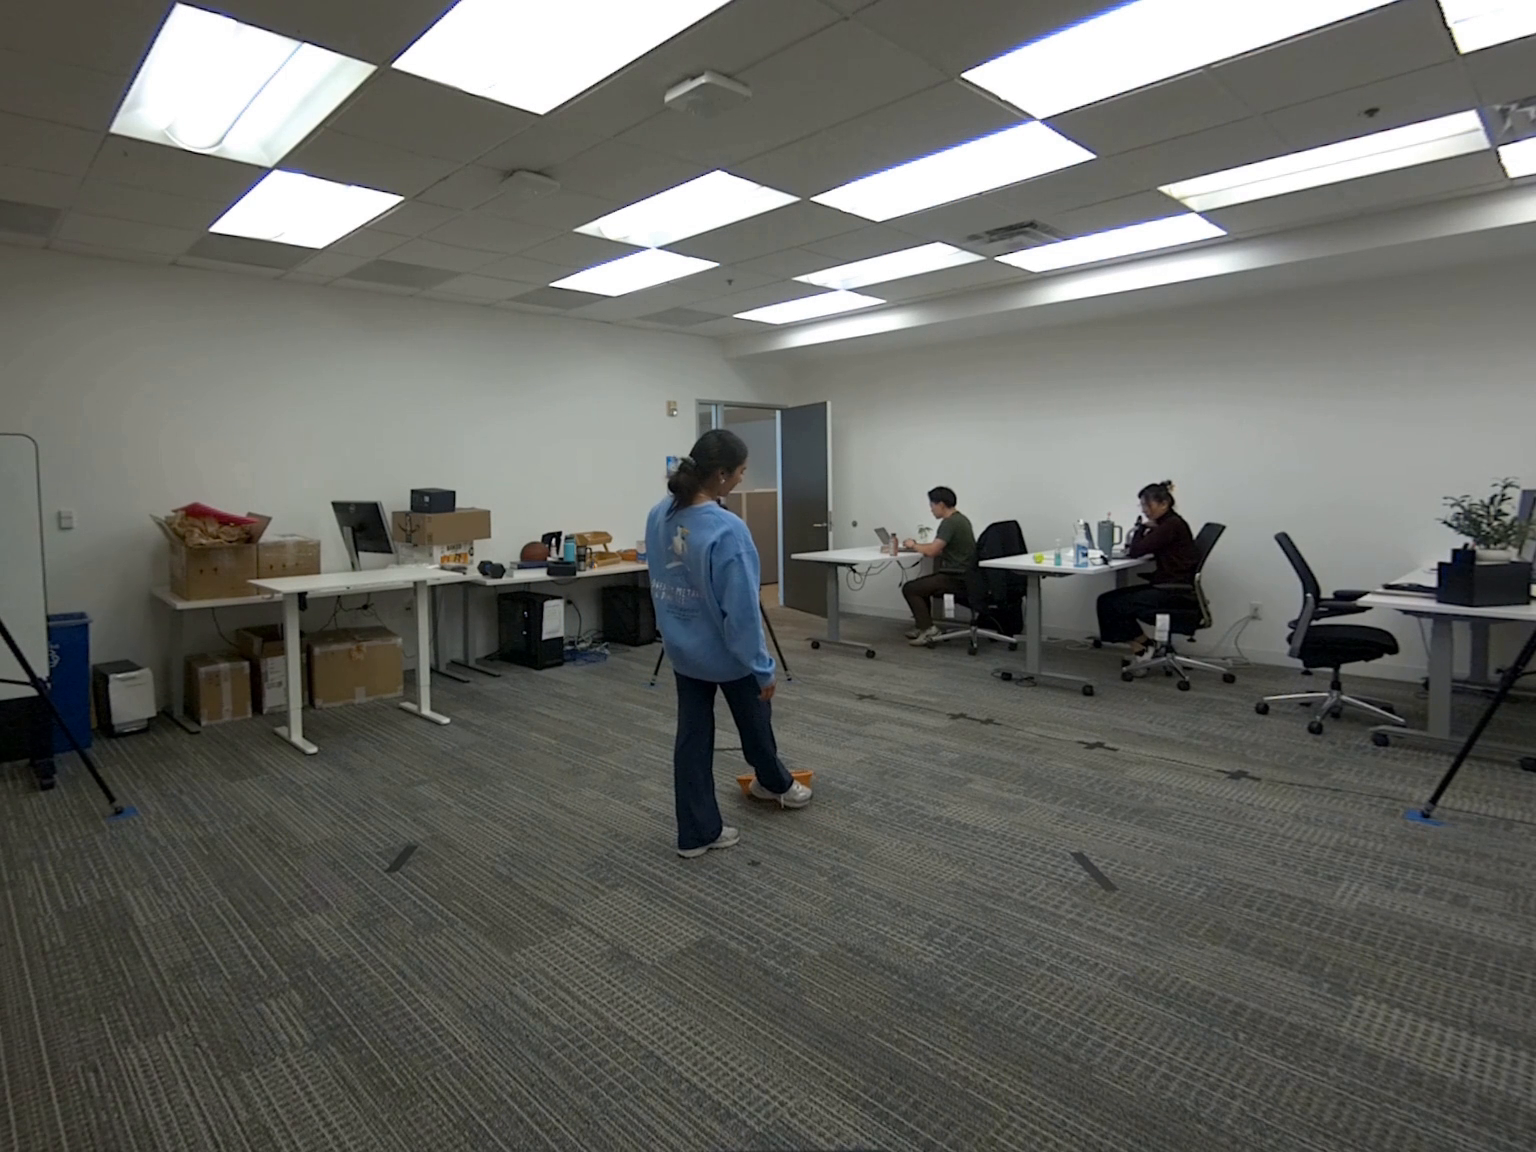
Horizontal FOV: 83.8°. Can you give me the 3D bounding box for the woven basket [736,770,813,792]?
[{"bbox_3d":[0.030,0.910,3.757,0.351,0.074,0.249,-3,-9,2],"label":"woven basket"}]
